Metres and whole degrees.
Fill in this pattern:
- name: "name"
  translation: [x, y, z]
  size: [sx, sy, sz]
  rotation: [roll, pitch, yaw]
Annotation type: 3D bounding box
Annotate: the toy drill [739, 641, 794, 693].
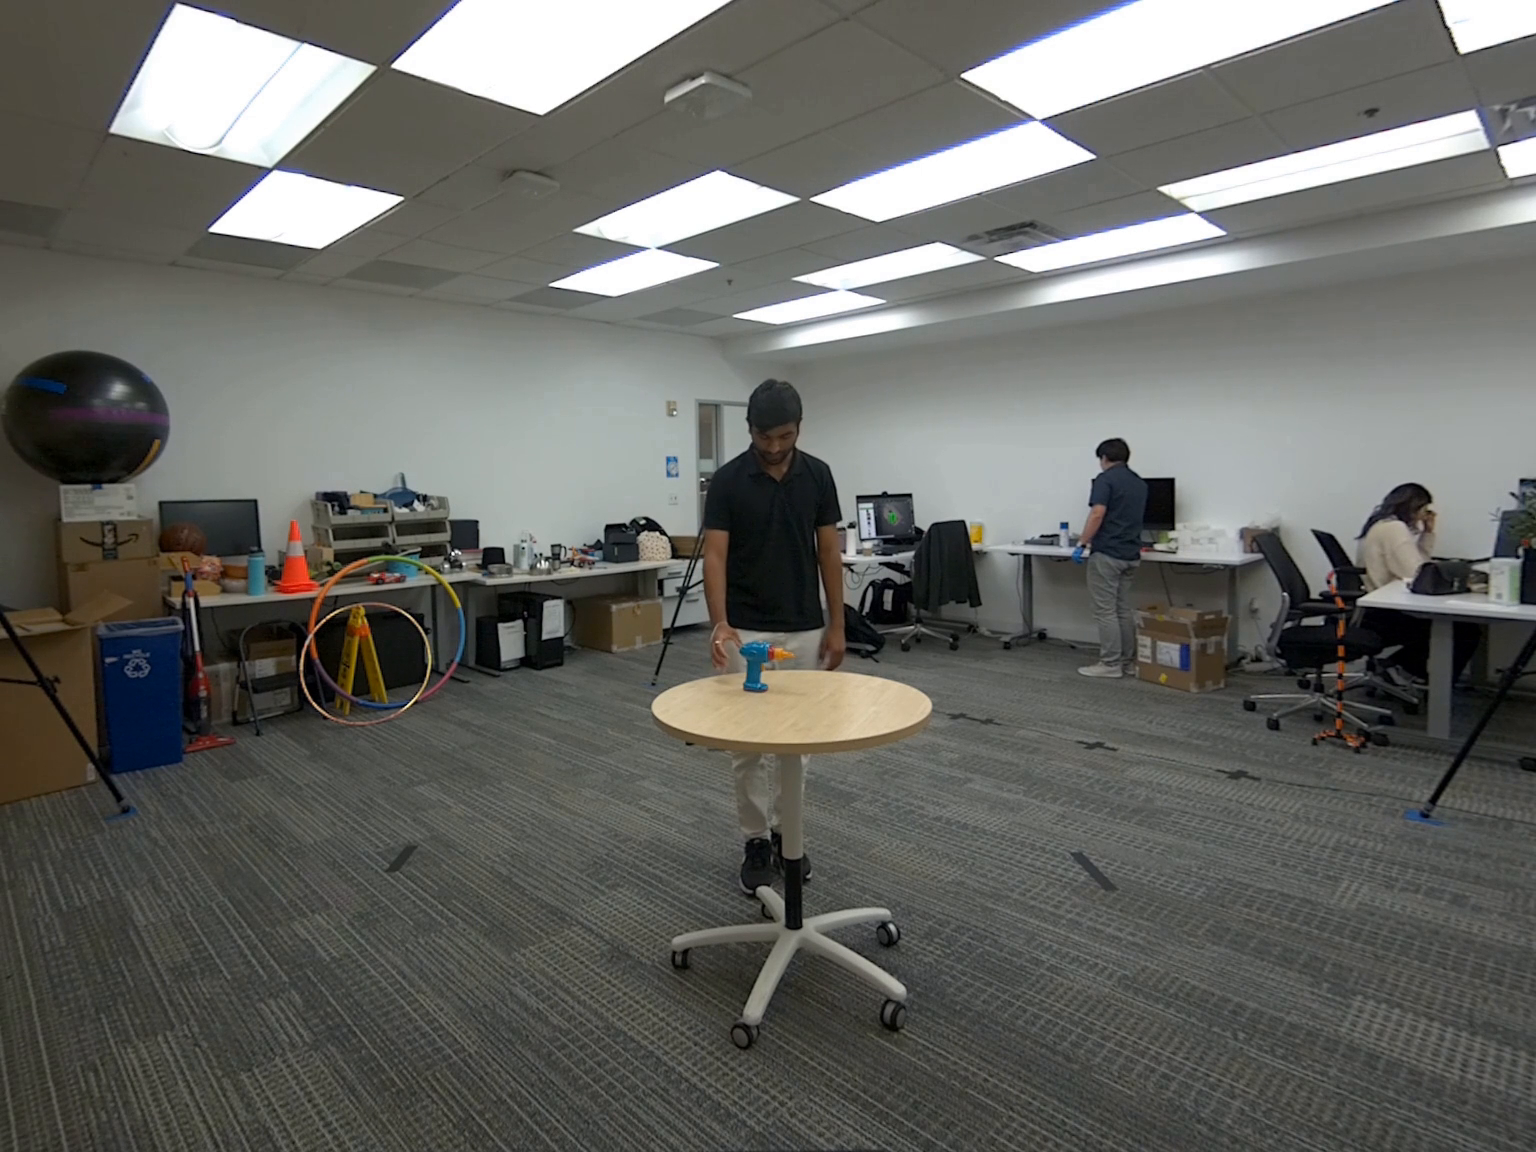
- name: "toy drill"
  translation: [-0.007, 0.264, 2.472]
  size: [0.173, 0.146, 0.060]
  rotation: [1, 3, 23]
